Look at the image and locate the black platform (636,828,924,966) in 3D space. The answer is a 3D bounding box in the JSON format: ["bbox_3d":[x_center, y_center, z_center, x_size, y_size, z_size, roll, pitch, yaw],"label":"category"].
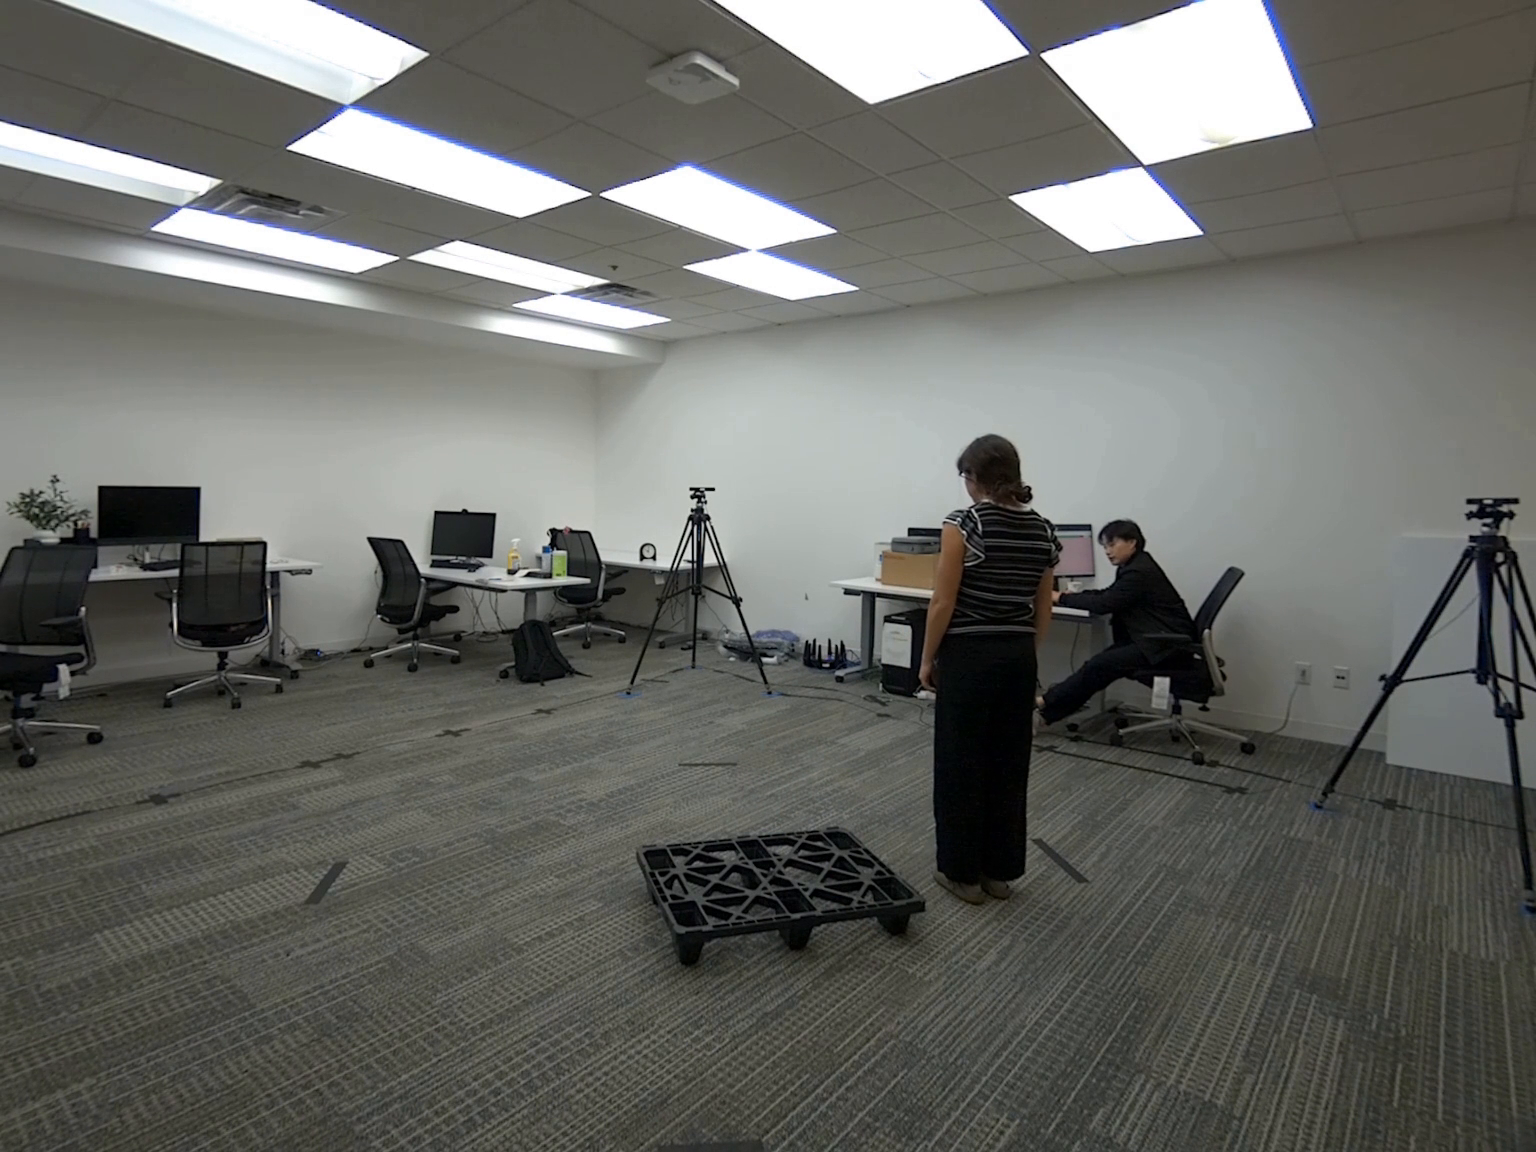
[{"bbox_3d":[0.009,1.035,2.792,0.791,0.142,0.619,-1,7,-18],"label":"black platform"}]
